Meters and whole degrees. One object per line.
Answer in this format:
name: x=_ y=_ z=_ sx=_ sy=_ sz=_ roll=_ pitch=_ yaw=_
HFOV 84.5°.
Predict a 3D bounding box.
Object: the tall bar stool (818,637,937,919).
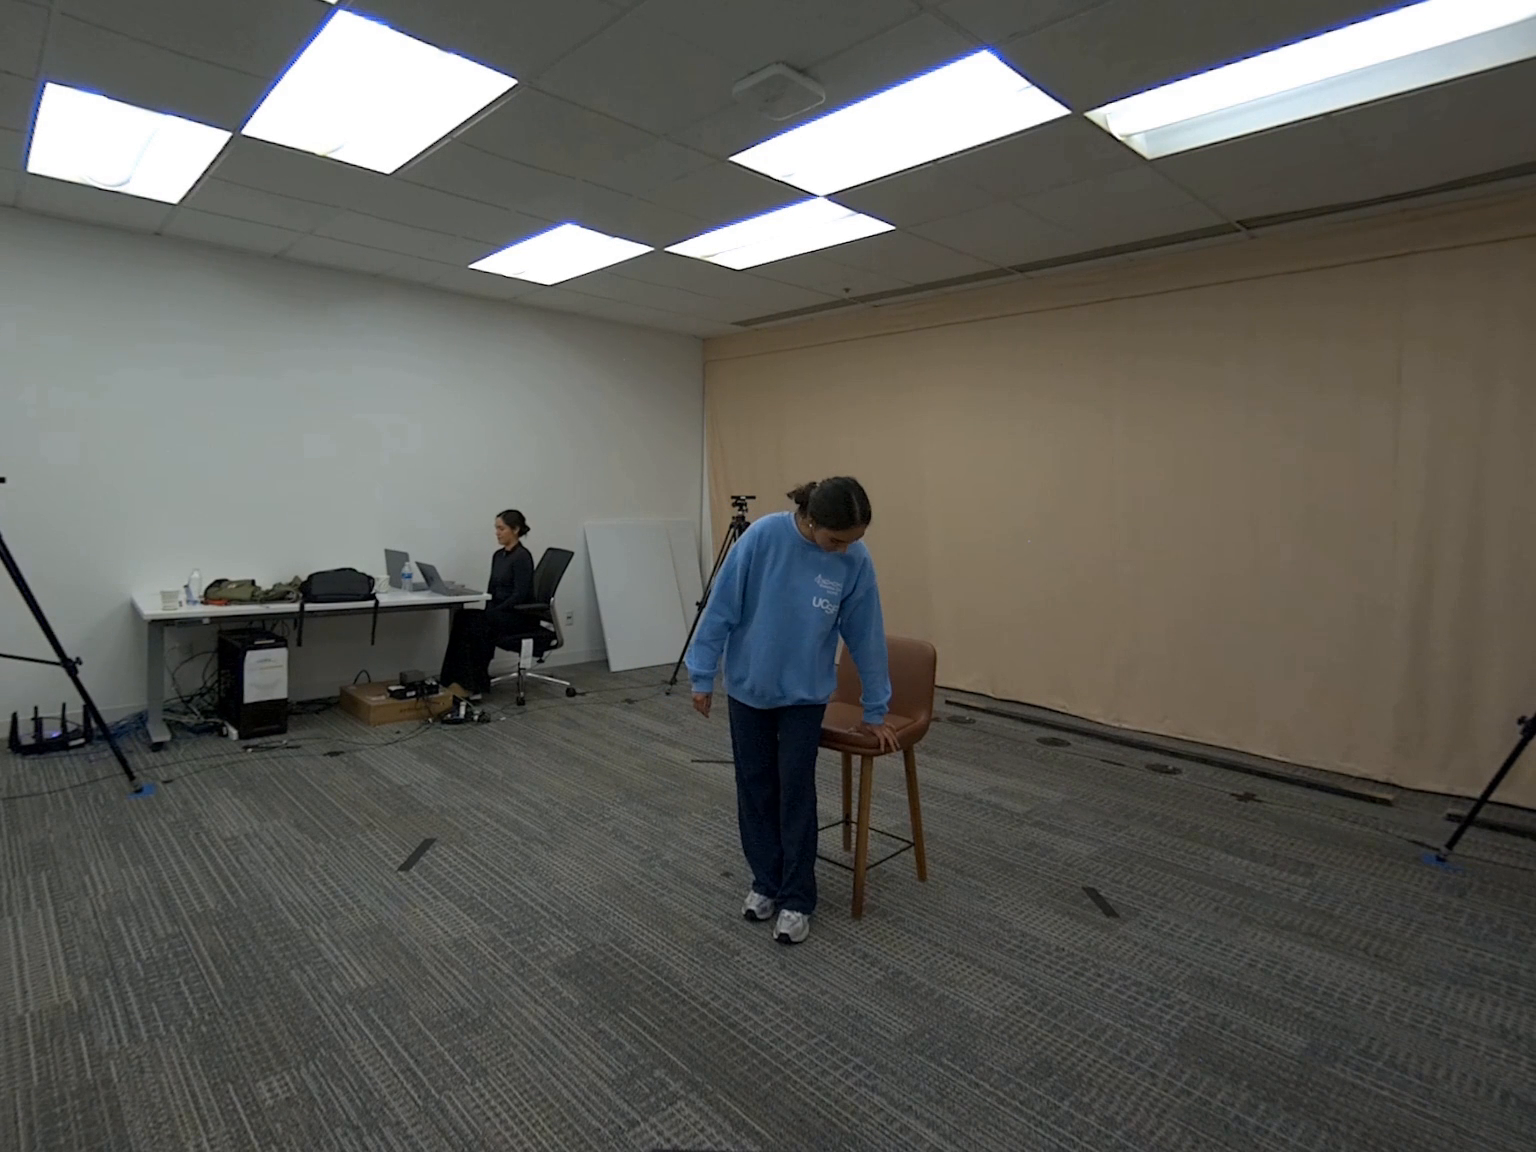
tall bar stool: x=0.314 y=0.677 z=3.055 sx=0.468 sy=0.889 sz=0.456 roll=4 pitch=3 yaw=44
